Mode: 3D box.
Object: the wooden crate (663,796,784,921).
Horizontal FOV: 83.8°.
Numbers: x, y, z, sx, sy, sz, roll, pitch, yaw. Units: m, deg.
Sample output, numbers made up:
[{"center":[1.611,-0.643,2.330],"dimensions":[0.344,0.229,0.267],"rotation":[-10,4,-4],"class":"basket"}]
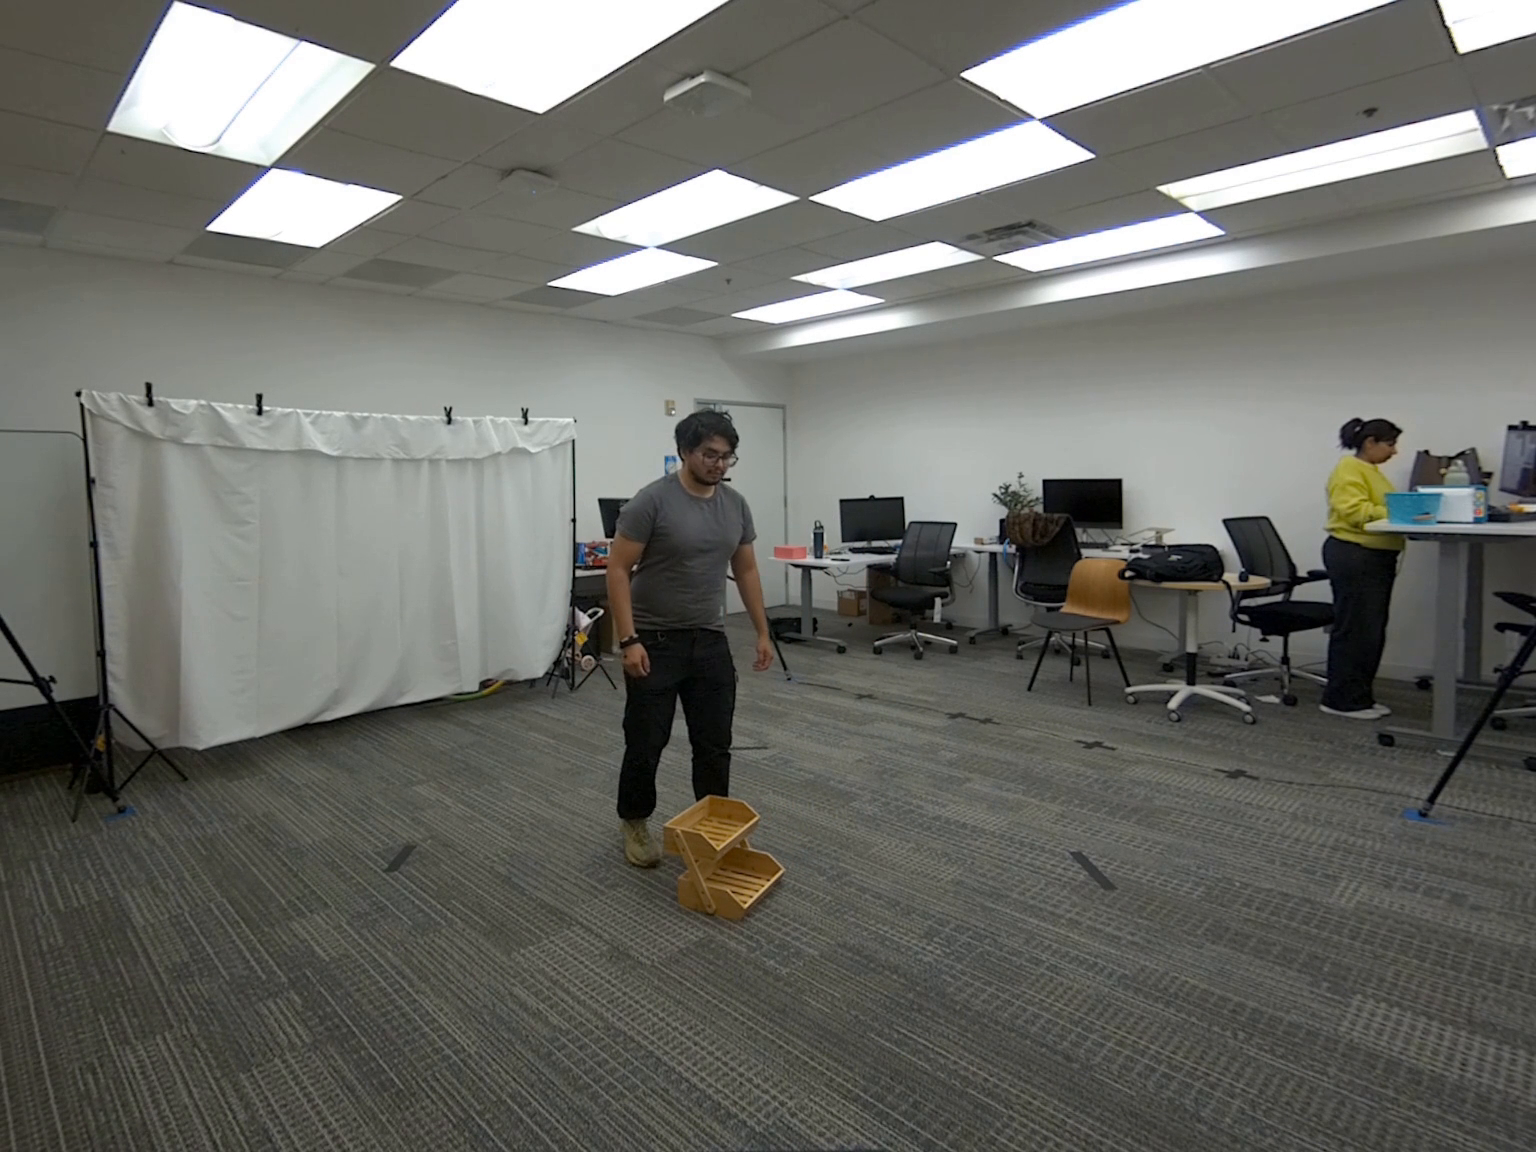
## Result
[{"center":[-0.137,0.938,2.876],"dimensions":[0.309,0.272,0.318],"rotation":[1,5,28],"class":"wooden crate"}]
